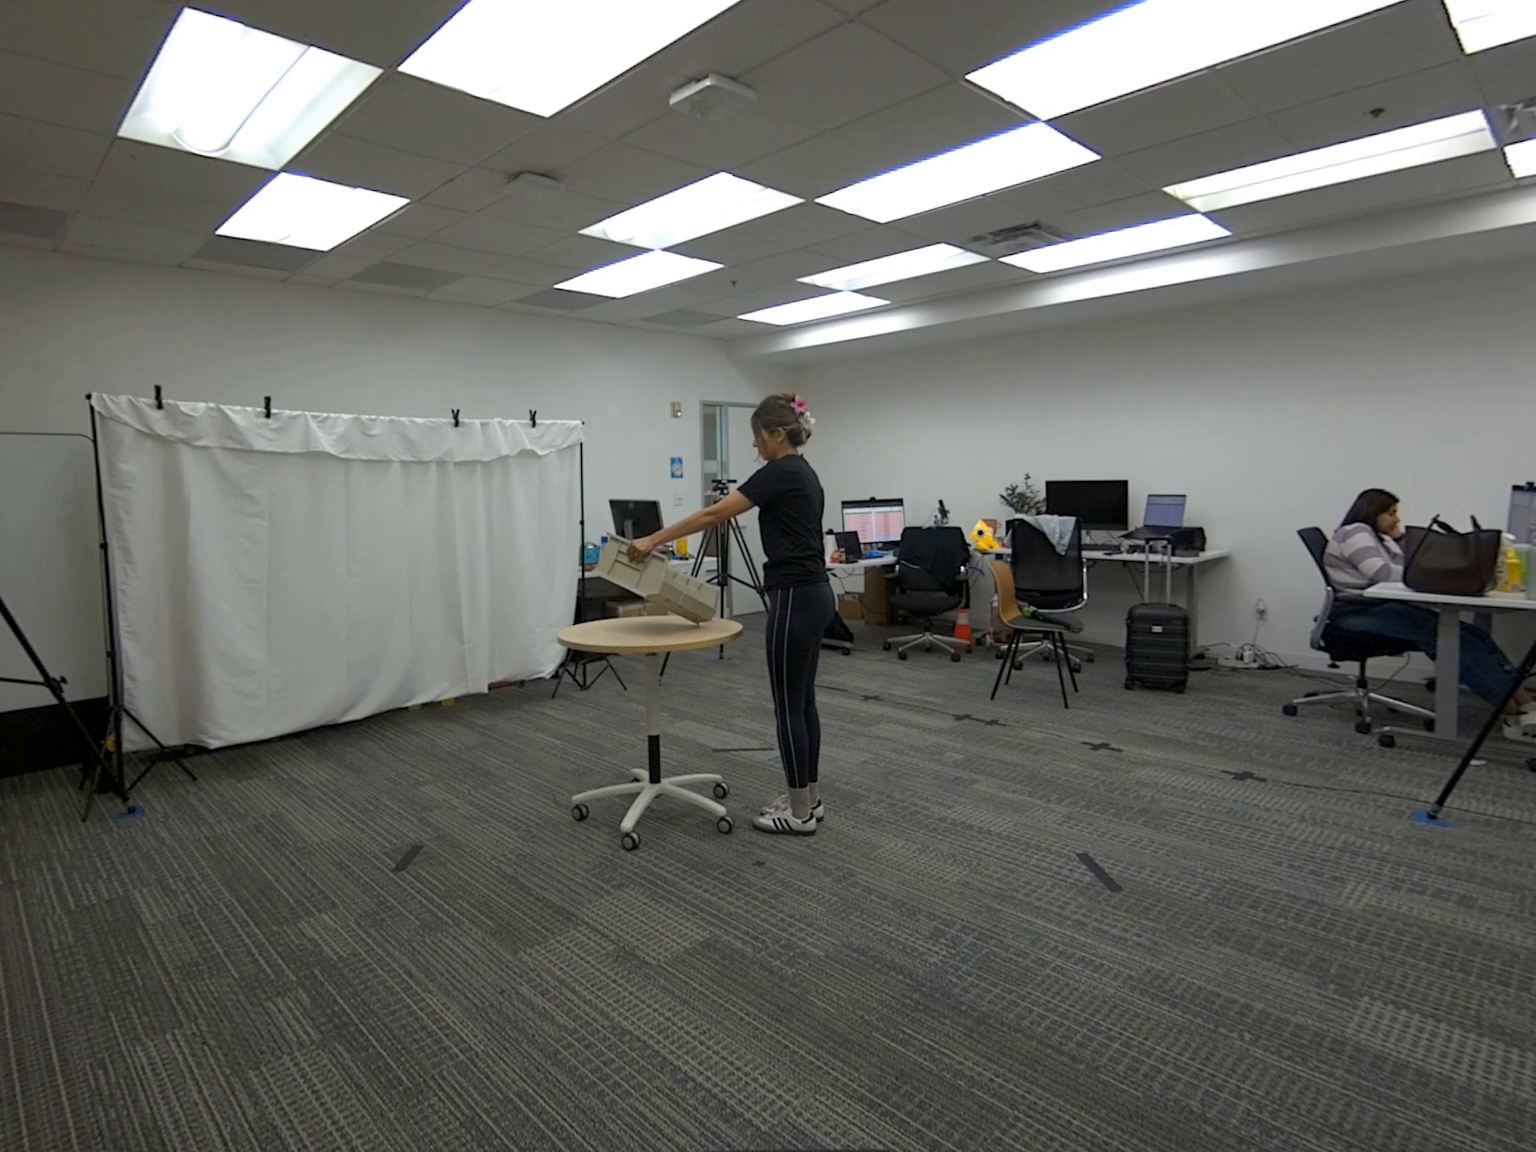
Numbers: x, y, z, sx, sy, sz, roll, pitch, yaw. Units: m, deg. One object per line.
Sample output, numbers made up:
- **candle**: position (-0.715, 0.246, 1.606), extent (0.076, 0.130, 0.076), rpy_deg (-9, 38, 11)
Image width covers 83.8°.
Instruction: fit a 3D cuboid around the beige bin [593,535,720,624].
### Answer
- **beige bin**: position (-0.455, 0.024, 3.560), extent (0.391, 0.189, 0.407), rpy_deg (22, -7, 35)
